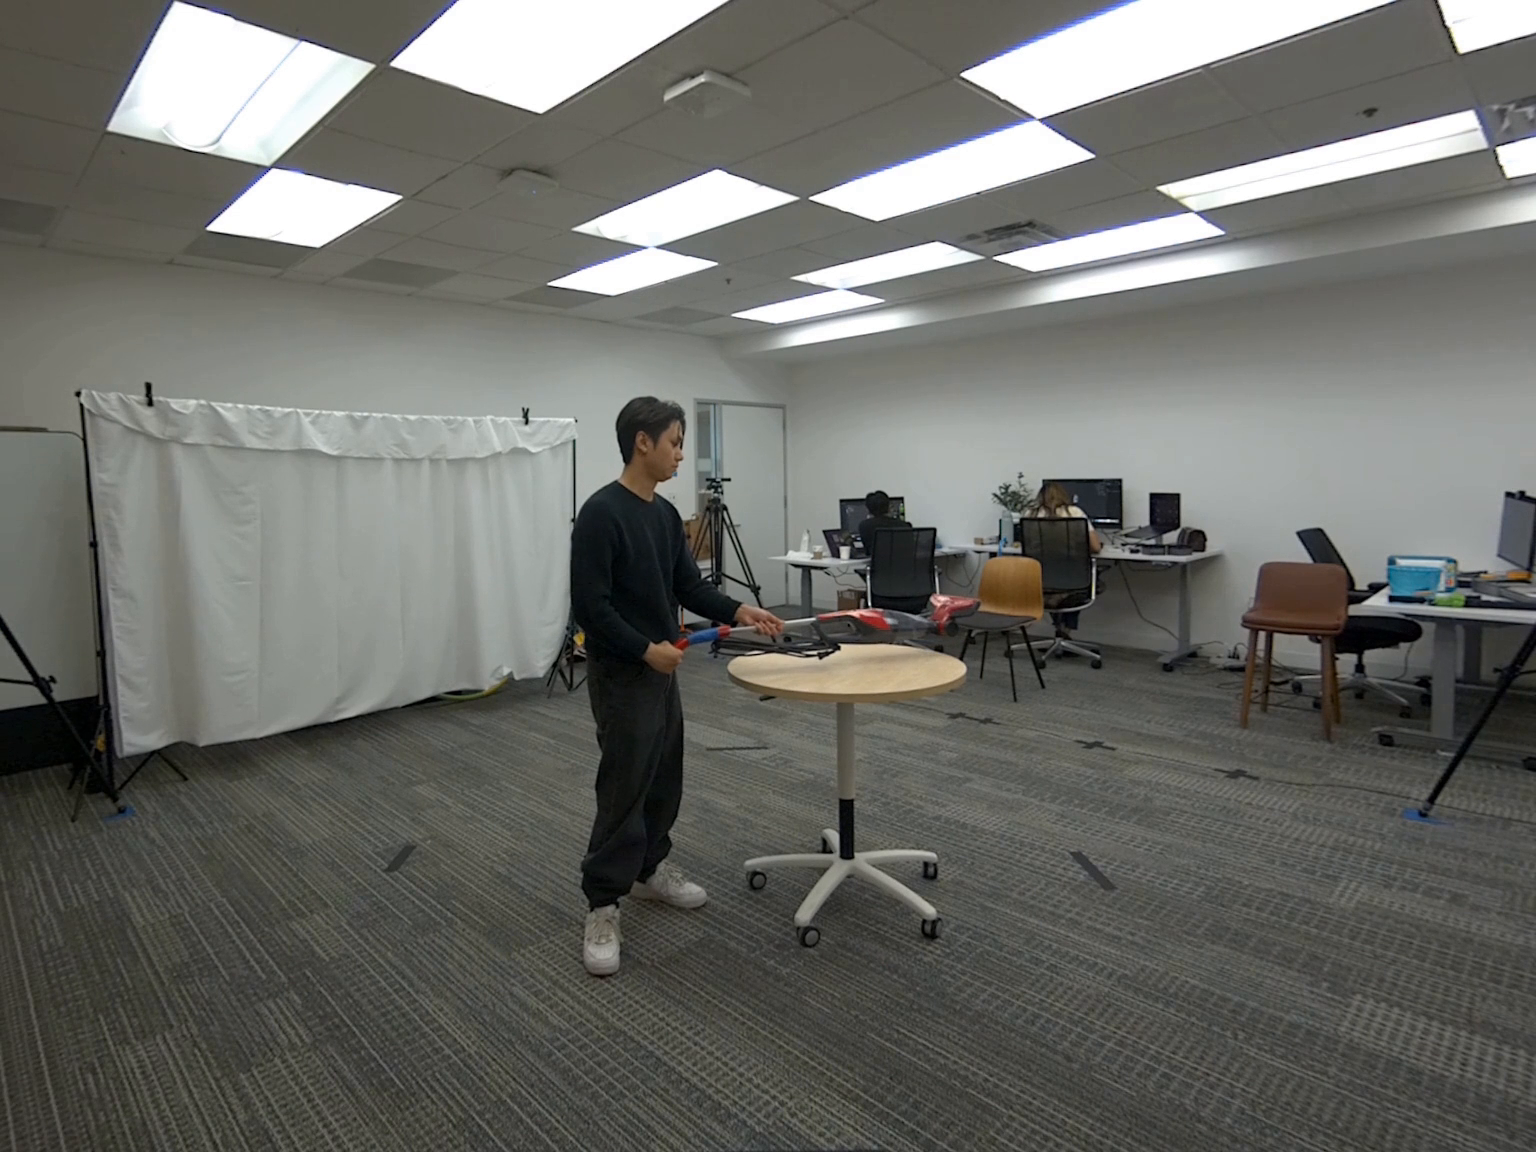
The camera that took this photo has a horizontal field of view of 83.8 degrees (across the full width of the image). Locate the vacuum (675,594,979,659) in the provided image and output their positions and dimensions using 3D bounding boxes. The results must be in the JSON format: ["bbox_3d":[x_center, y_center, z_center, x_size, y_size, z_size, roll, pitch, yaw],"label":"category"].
[{"bbox_3d":[0.165,0.196,2.757,1.031,0.144,0.257,-6,3,-21],"label":"vacuum"}]
